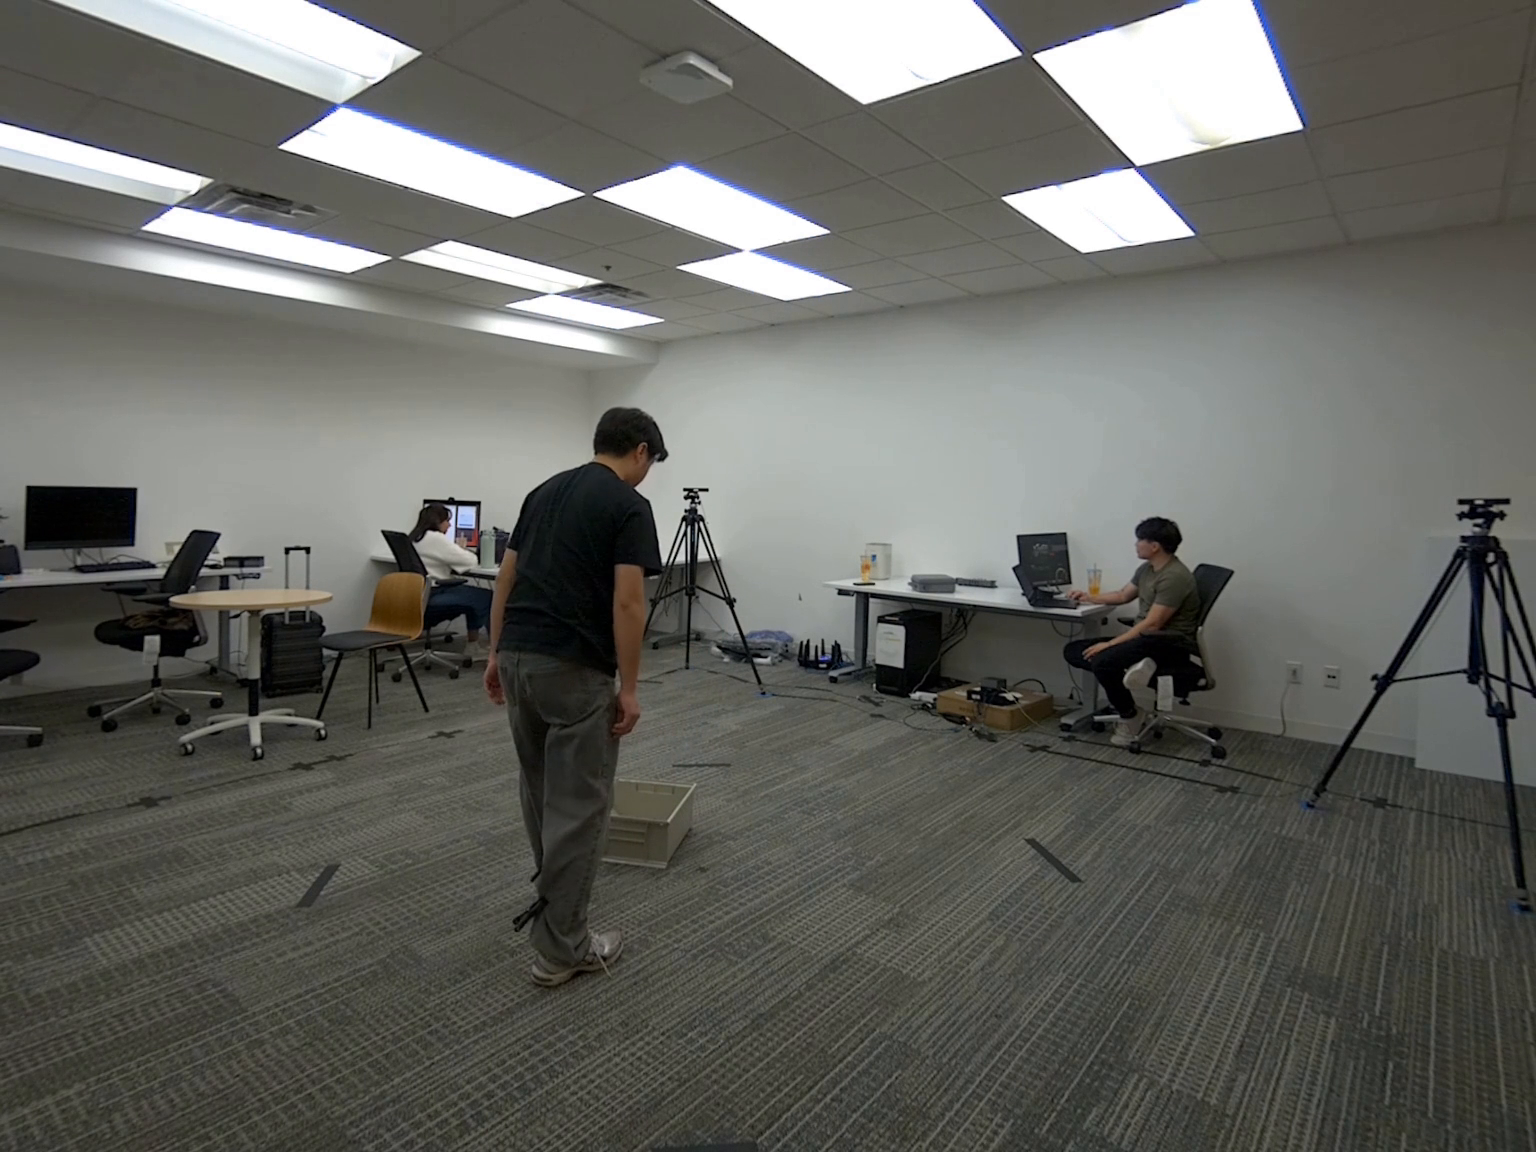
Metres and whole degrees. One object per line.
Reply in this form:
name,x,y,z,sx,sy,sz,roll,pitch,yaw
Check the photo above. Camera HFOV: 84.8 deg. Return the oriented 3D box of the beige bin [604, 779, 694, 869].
beige bin,-0.525,0.954,3.337,0.382,0.188,0.418,3,5,10
